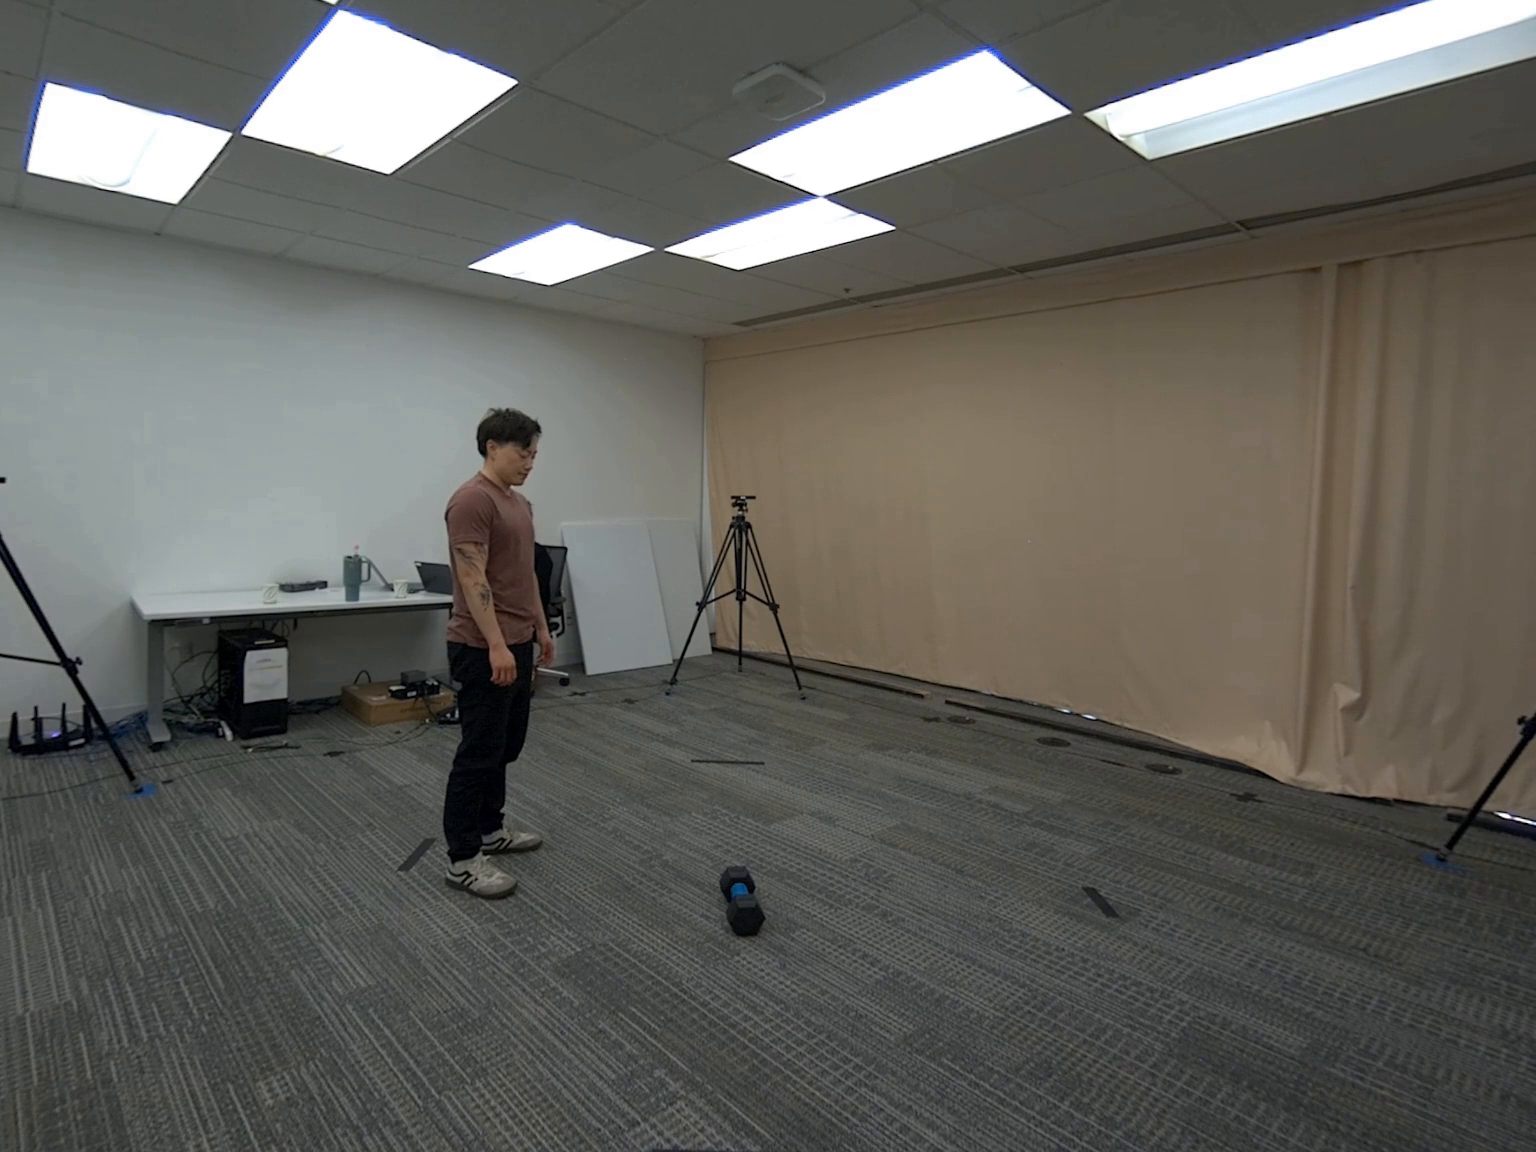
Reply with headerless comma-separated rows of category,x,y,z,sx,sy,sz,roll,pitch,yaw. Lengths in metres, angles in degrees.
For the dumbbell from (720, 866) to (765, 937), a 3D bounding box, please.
dumbbell,-0.096,1.080,2.799,0.108,0.122,0.296,-29,8,-5
